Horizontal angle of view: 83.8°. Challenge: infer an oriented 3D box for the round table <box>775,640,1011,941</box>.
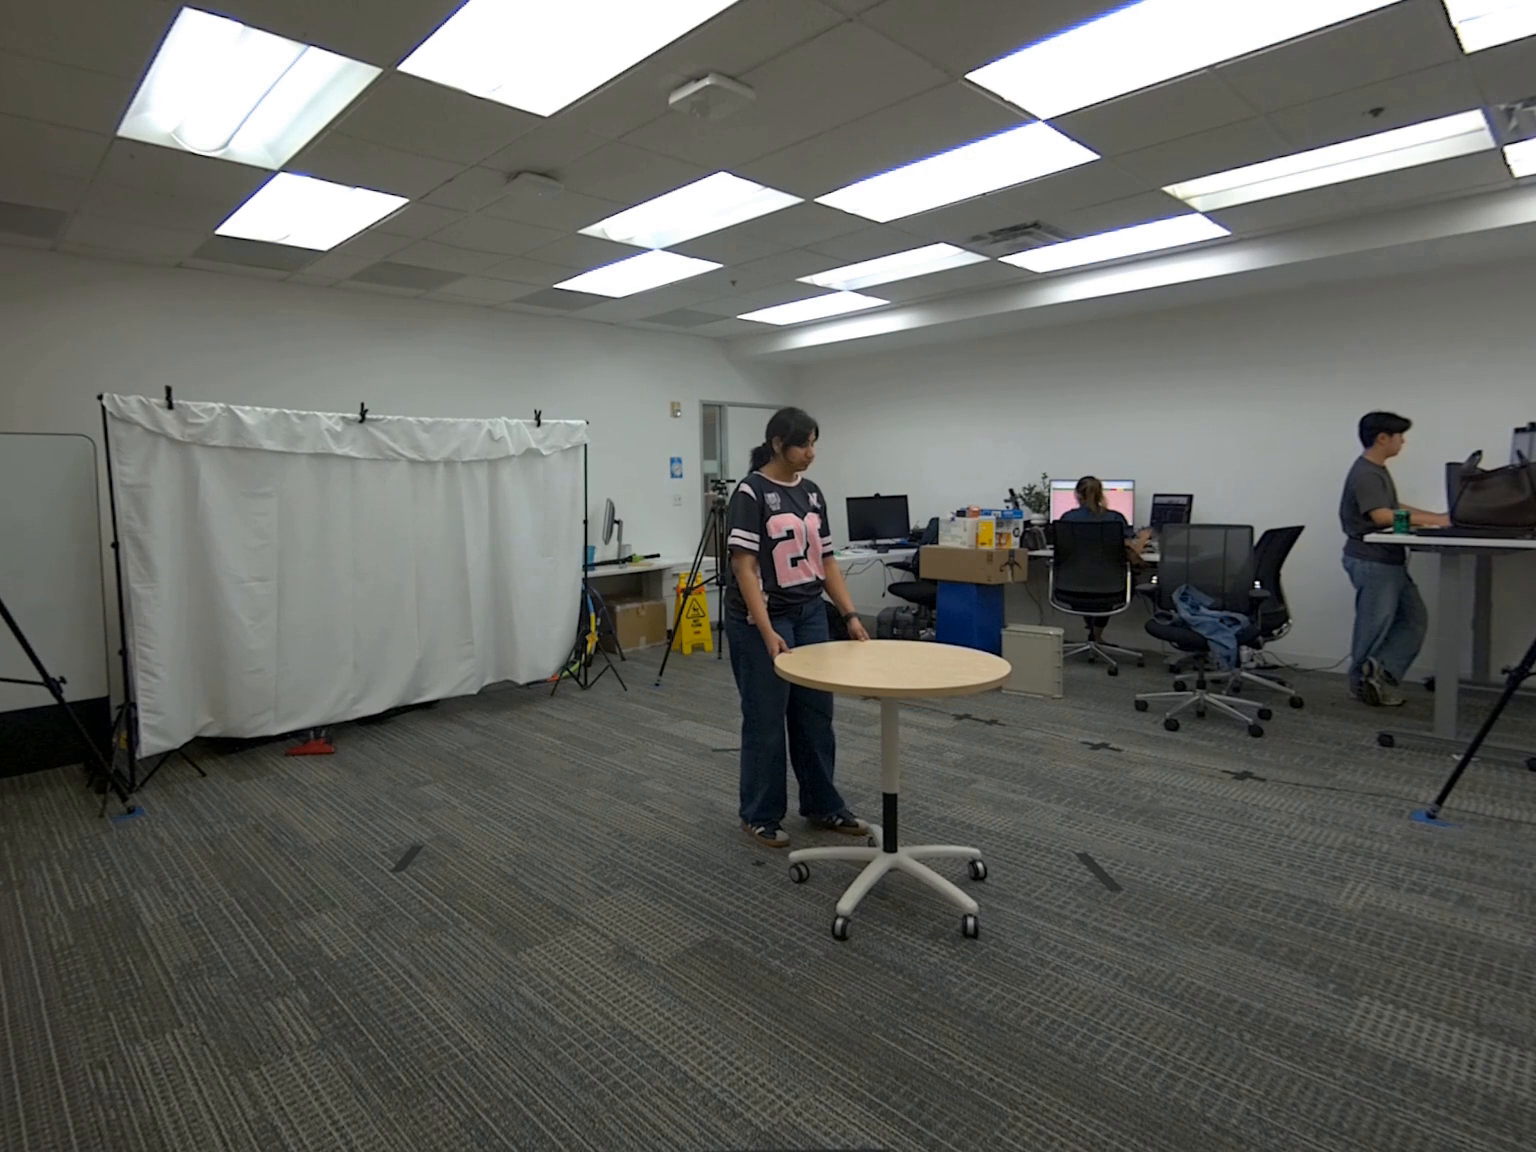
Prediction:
[{"bbox_3d":[0.410,0.677,2.853,0.763,0.791,0.768,-1,5,-2],"label":"round table"}]
